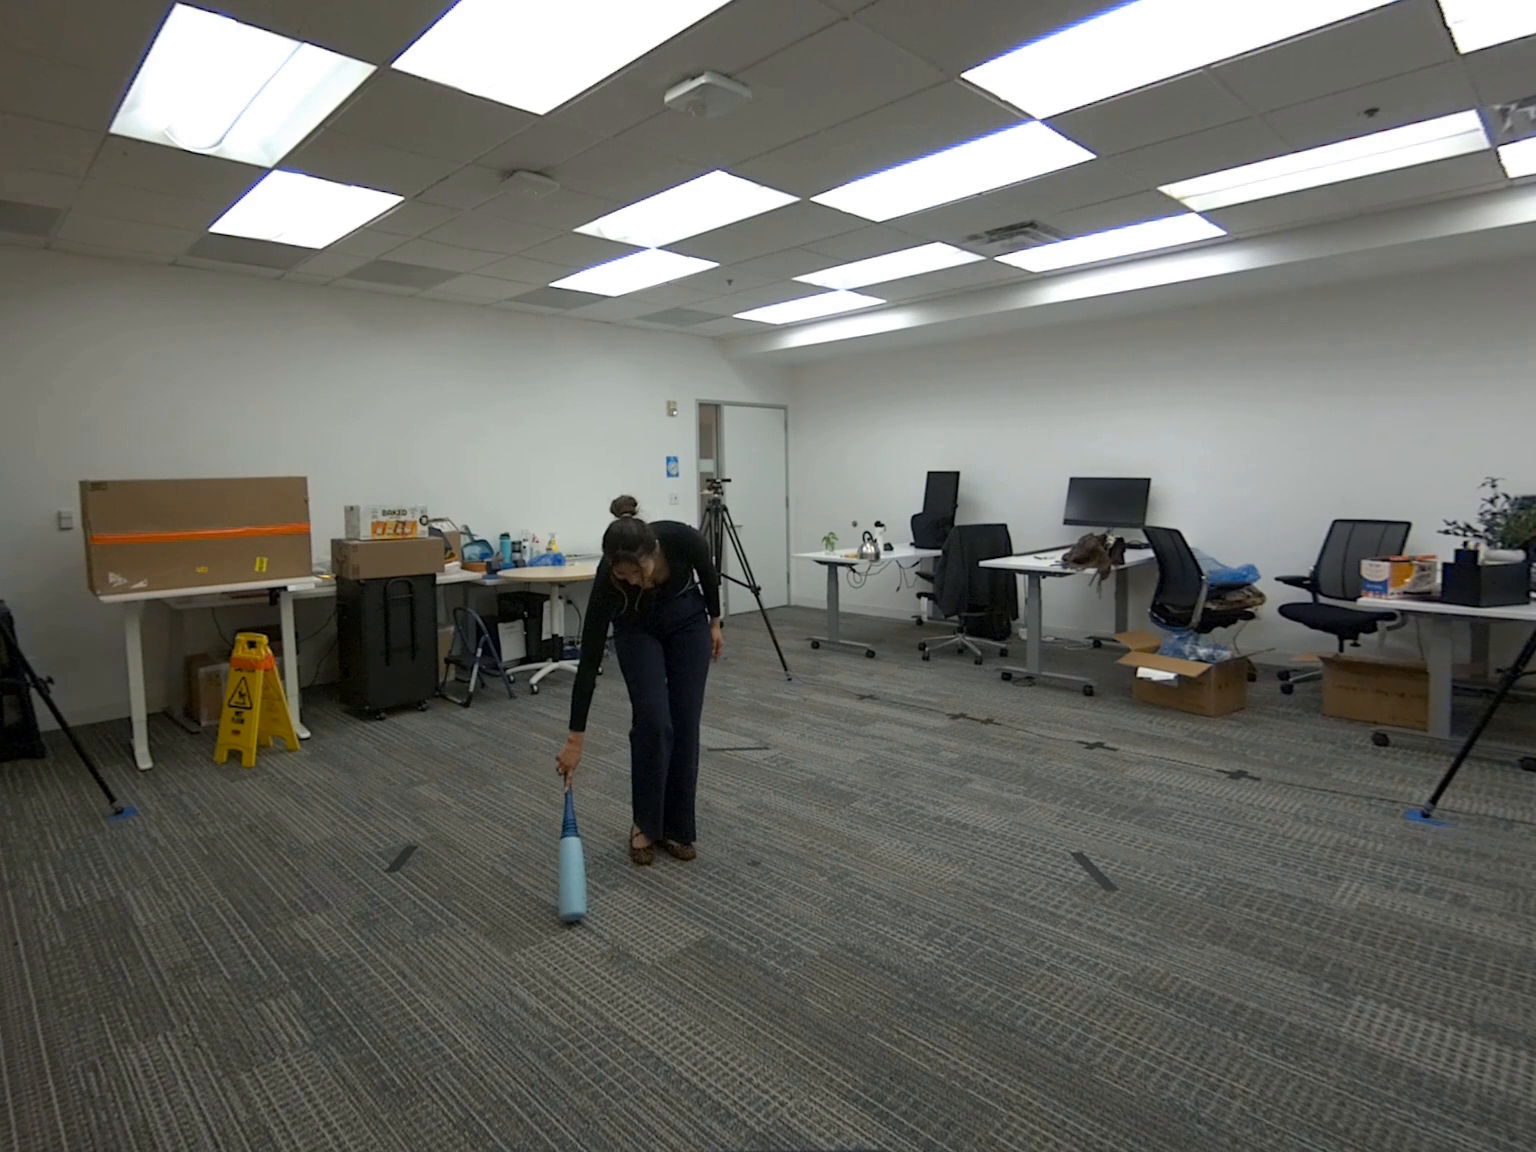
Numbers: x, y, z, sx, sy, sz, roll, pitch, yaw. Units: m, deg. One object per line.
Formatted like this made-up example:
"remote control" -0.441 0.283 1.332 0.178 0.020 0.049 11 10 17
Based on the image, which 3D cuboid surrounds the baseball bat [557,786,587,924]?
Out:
"baseball bat" -0.661 0.867 2.857 0.088 0.560 0.087 -8 -37 -8
